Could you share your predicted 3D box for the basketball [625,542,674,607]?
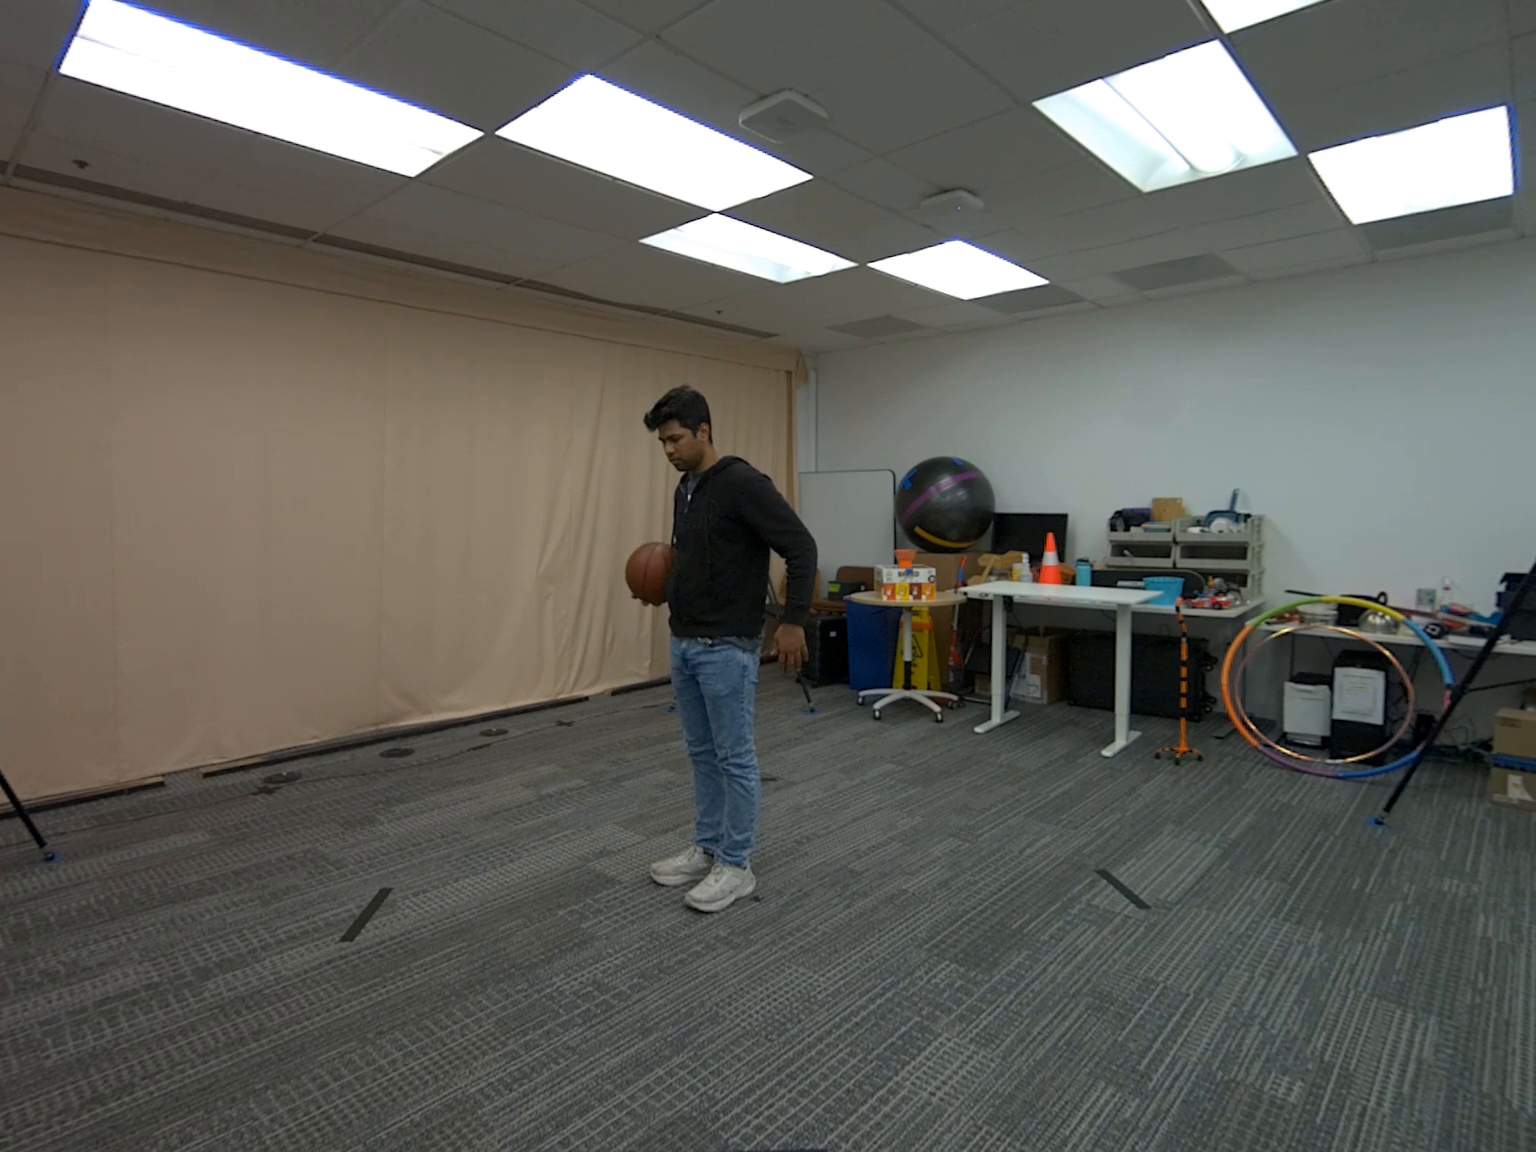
[{"bbox_3d":[-0.422,-0.015,3.225,0.236,0.235,0.237,0,4,-2],"label":"basketball"}]
